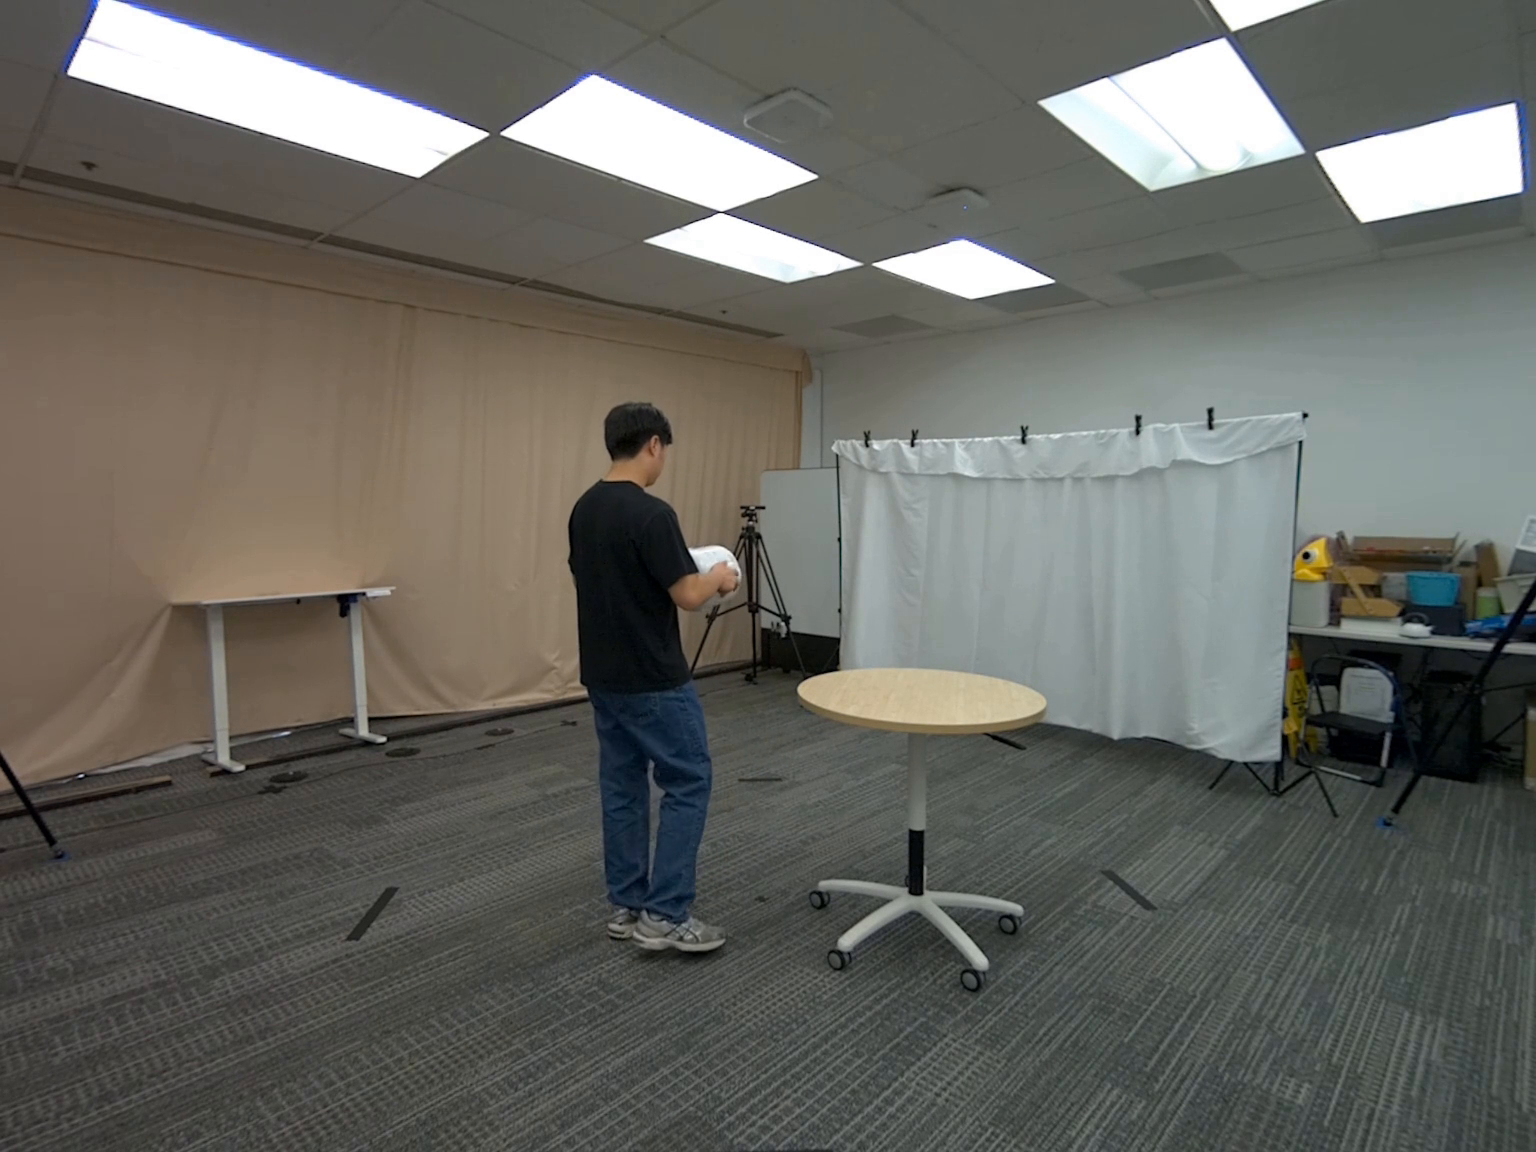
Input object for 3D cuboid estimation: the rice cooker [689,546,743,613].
[{"bbox_3d":[-0.213,0.005,2.965,0.228,0.216,0.226,0,8,39],"label":"rice cooker"}]
